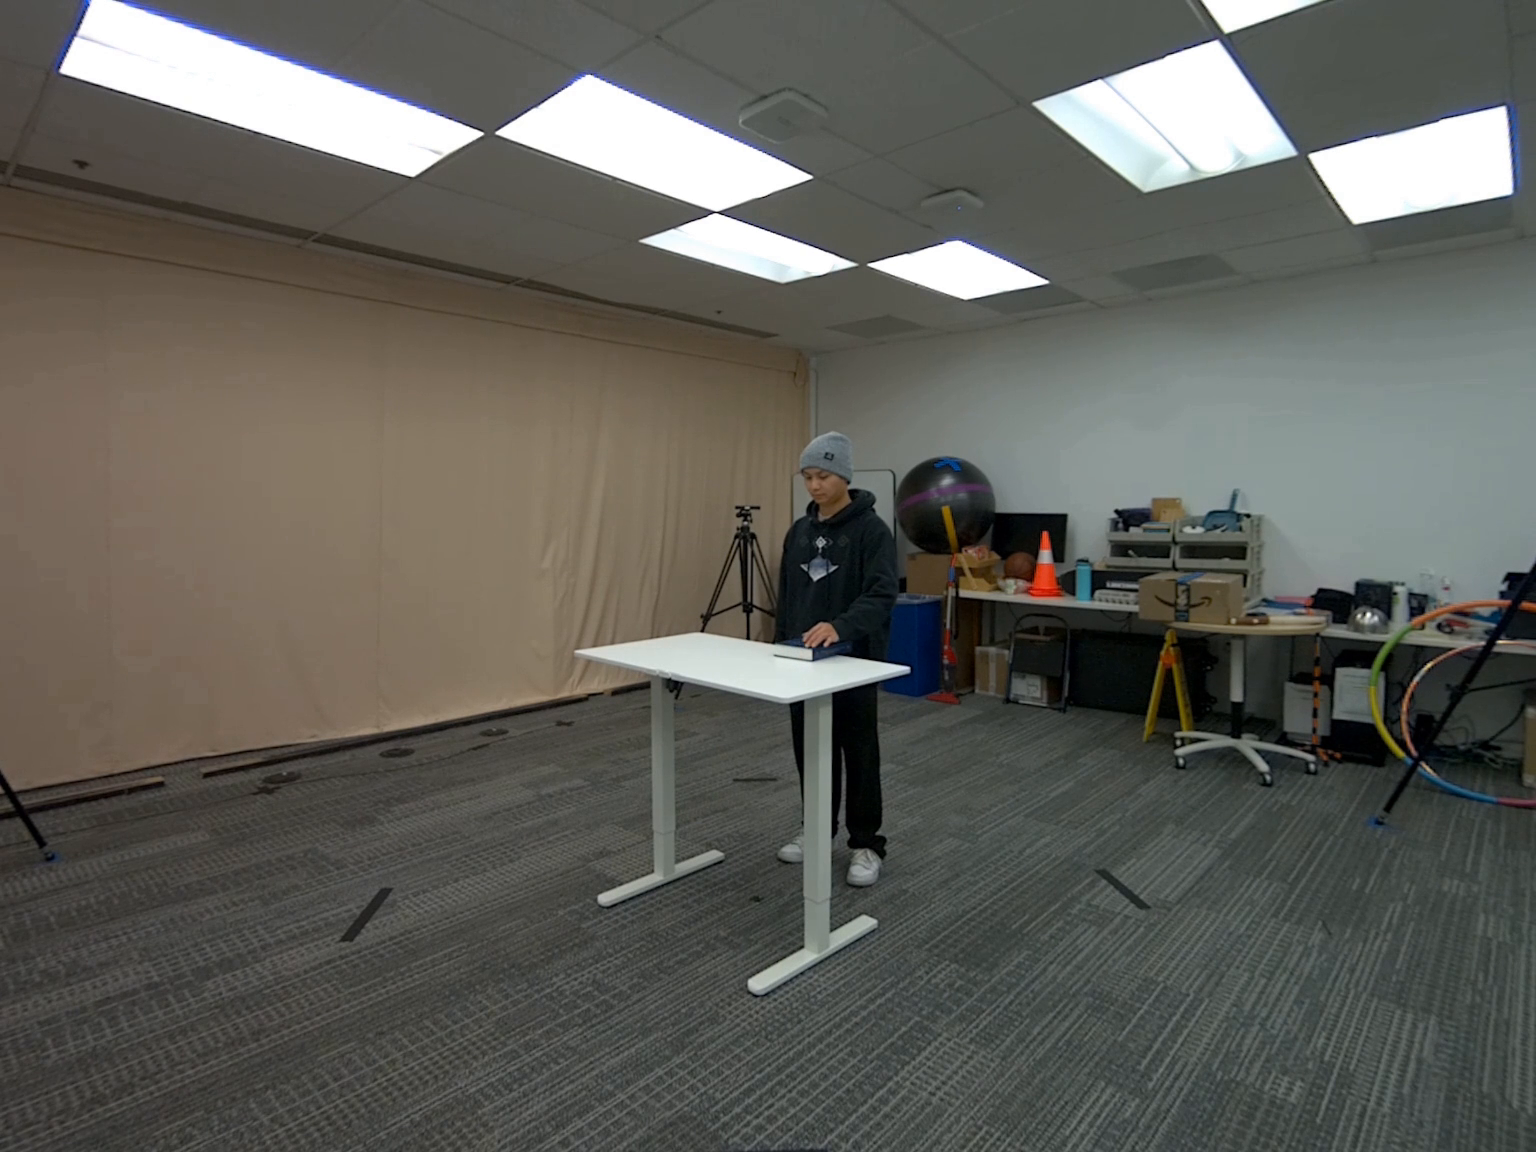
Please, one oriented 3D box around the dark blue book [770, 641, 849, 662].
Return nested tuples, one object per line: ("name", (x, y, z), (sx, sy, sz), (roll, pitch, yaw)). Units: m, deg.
("dark blue book", (0.163, 0.248, 2.910), (0.169, 0.045, 0.238), (4, 6, 37))
